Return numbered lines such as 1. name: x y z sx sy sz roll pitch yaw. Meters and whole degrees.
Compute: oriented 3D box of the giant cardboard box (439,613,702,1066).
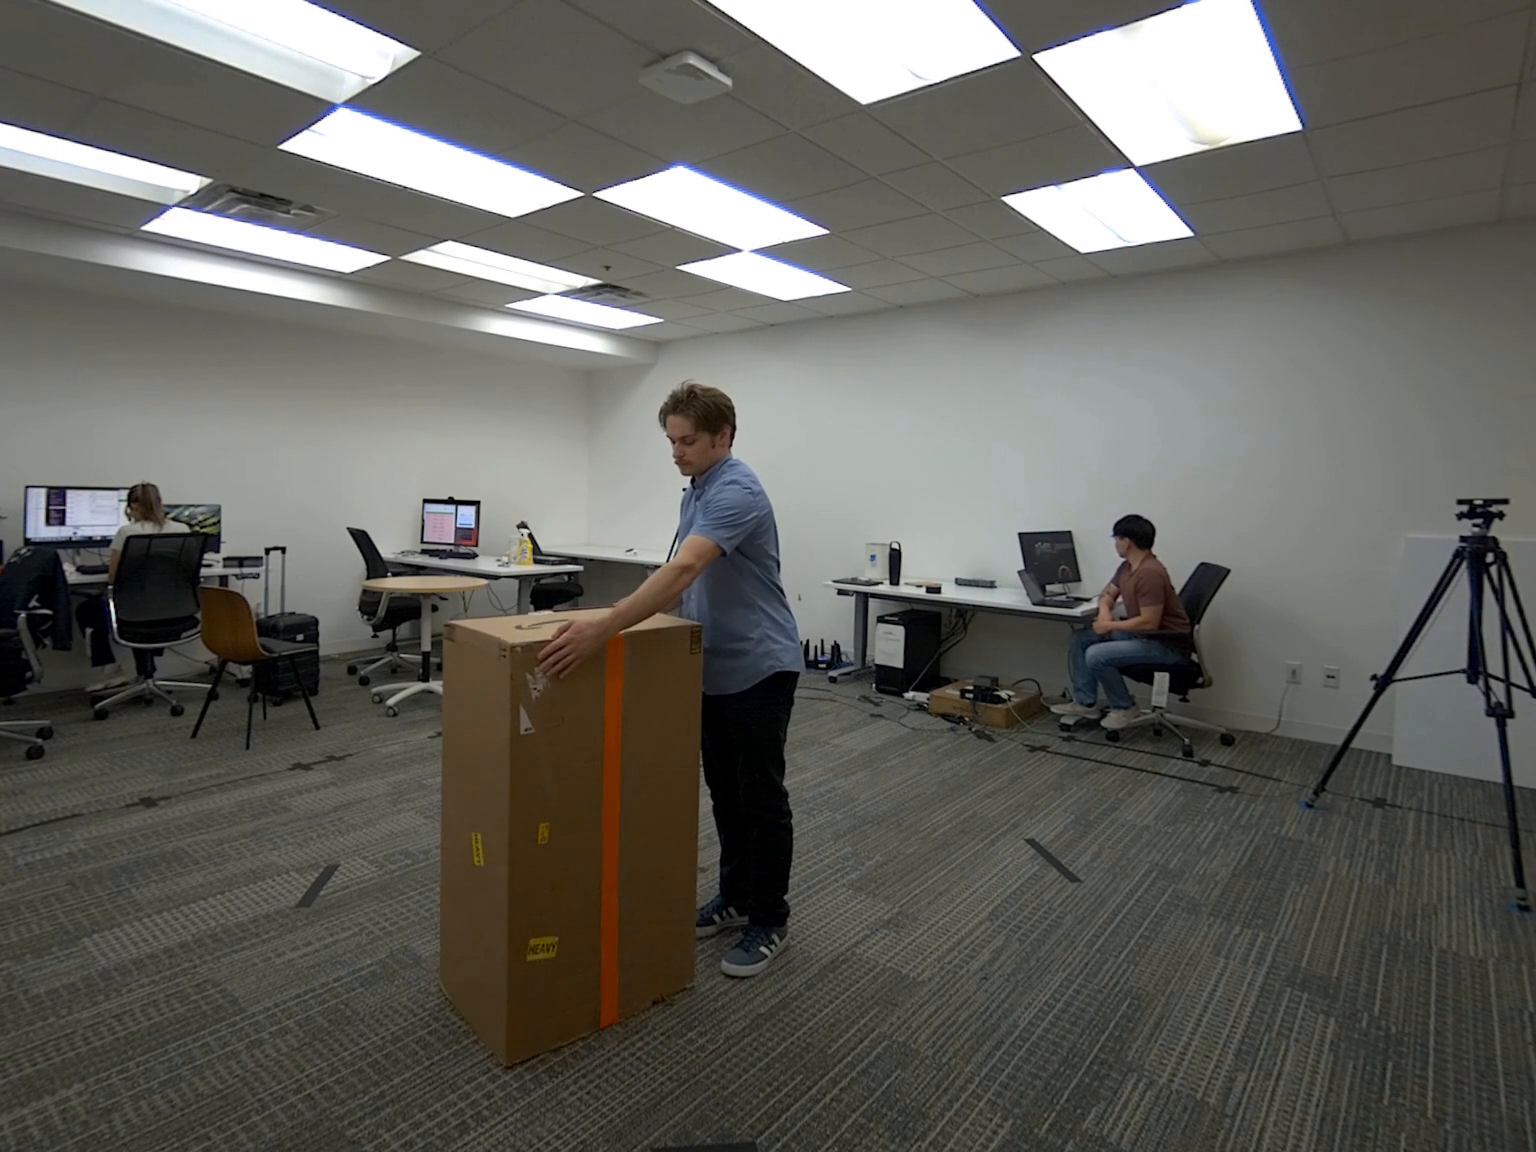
1. giant cardboard box: -0.550 0.637 2.333 0.560 1.023 0.440 -1 4 -40
